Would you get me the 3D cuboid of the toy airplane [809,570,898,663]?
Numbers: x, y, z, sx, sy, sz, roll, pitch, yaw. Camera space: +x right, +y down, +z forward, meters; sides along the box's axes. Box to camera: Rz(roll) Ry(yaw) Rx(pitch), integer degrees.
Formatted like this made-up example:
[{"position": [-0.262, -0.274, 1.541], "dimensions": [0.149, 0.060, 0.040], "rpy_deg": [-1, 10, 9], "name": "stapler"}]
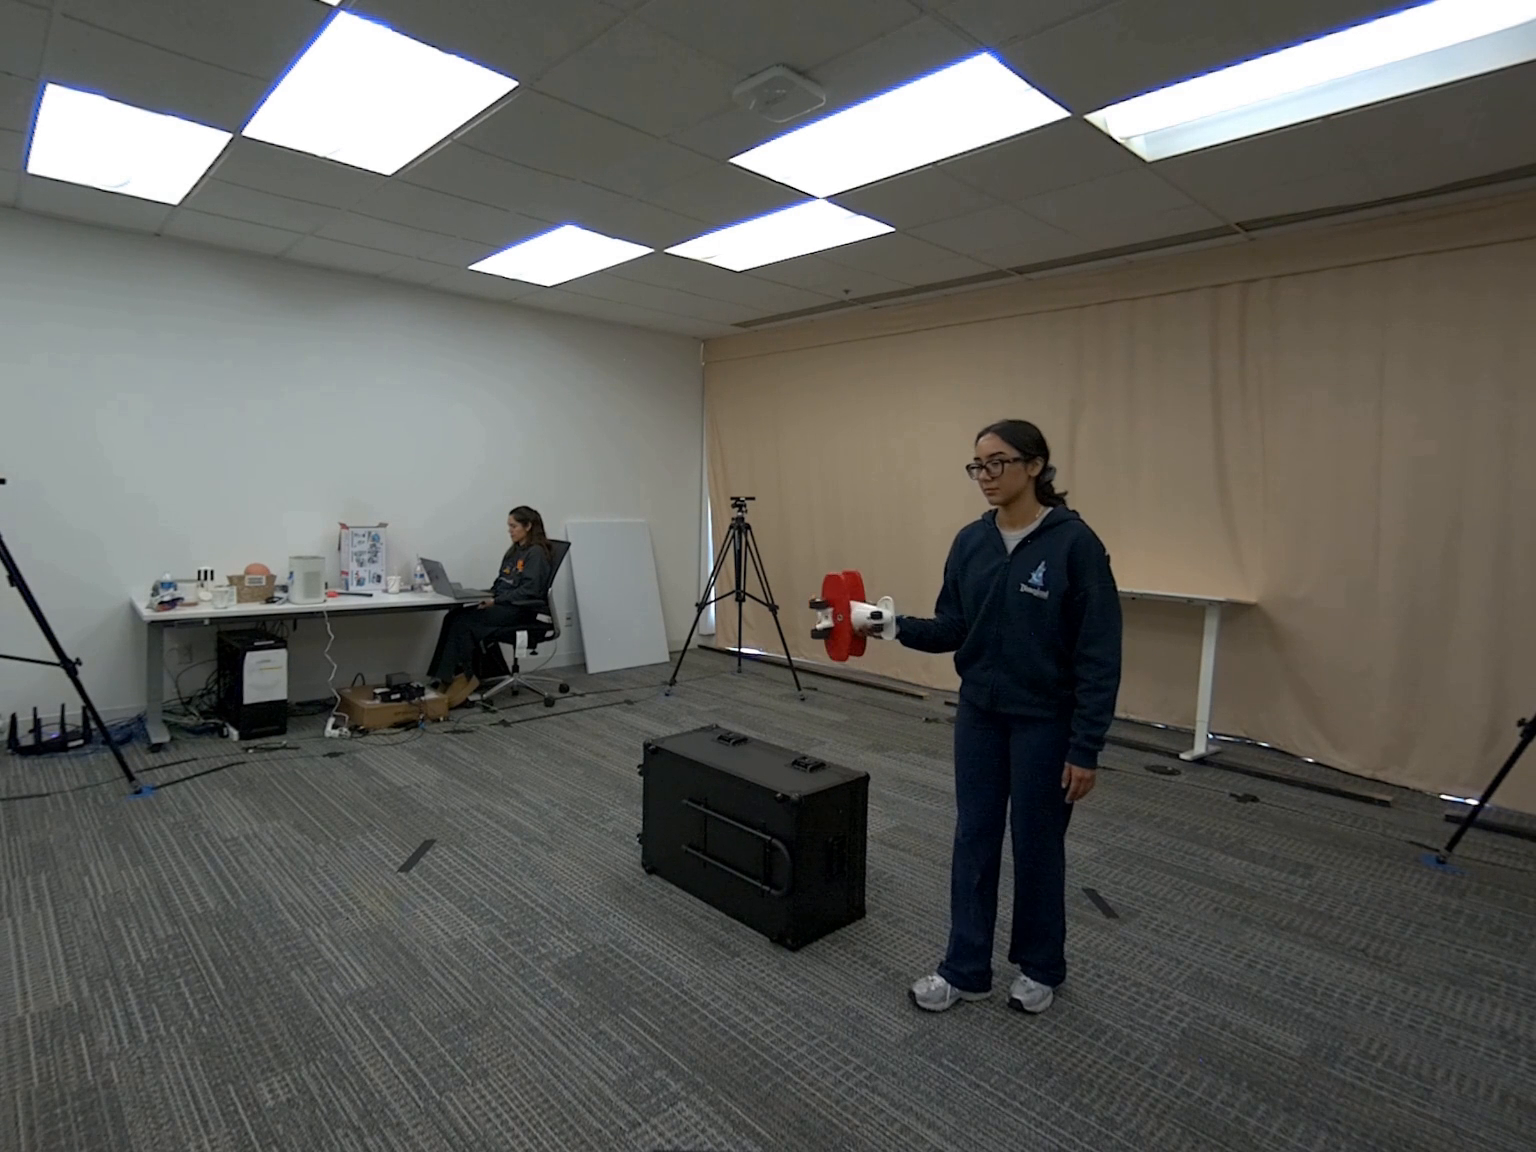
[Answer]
[{"position": [0.241, 0.136, 2.403], "dimensions": [0.266, 0.249, 0.154], "rpy_deg": [30, 21, 25], "name": "toy airplane"}]
